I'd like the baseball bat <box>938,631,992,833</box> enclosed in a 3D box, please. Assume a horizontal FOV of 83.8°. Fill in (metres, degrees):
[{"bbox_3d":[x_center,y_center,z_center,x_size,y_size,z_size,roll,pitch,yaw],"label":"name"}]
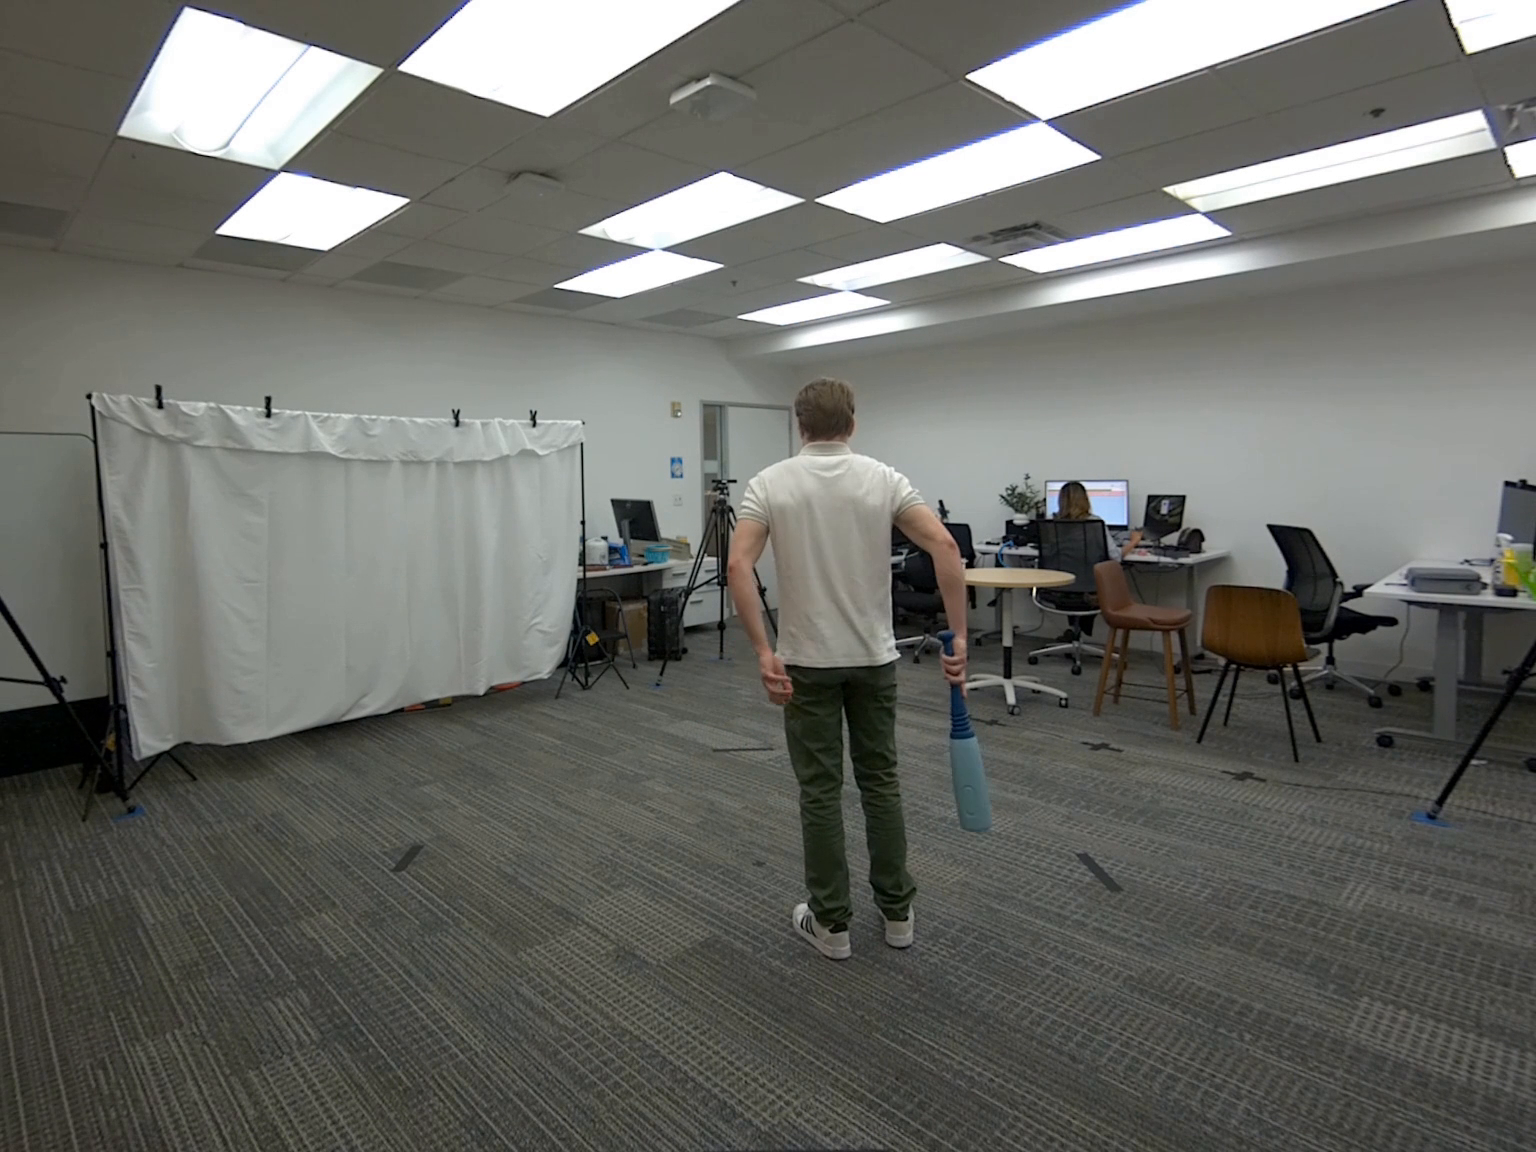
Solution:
[{"bbox_3d":[0.530,0.420,2.347,0.089,0.544,0.089,-7,-2,-2],"label":"baseball bat"}]
